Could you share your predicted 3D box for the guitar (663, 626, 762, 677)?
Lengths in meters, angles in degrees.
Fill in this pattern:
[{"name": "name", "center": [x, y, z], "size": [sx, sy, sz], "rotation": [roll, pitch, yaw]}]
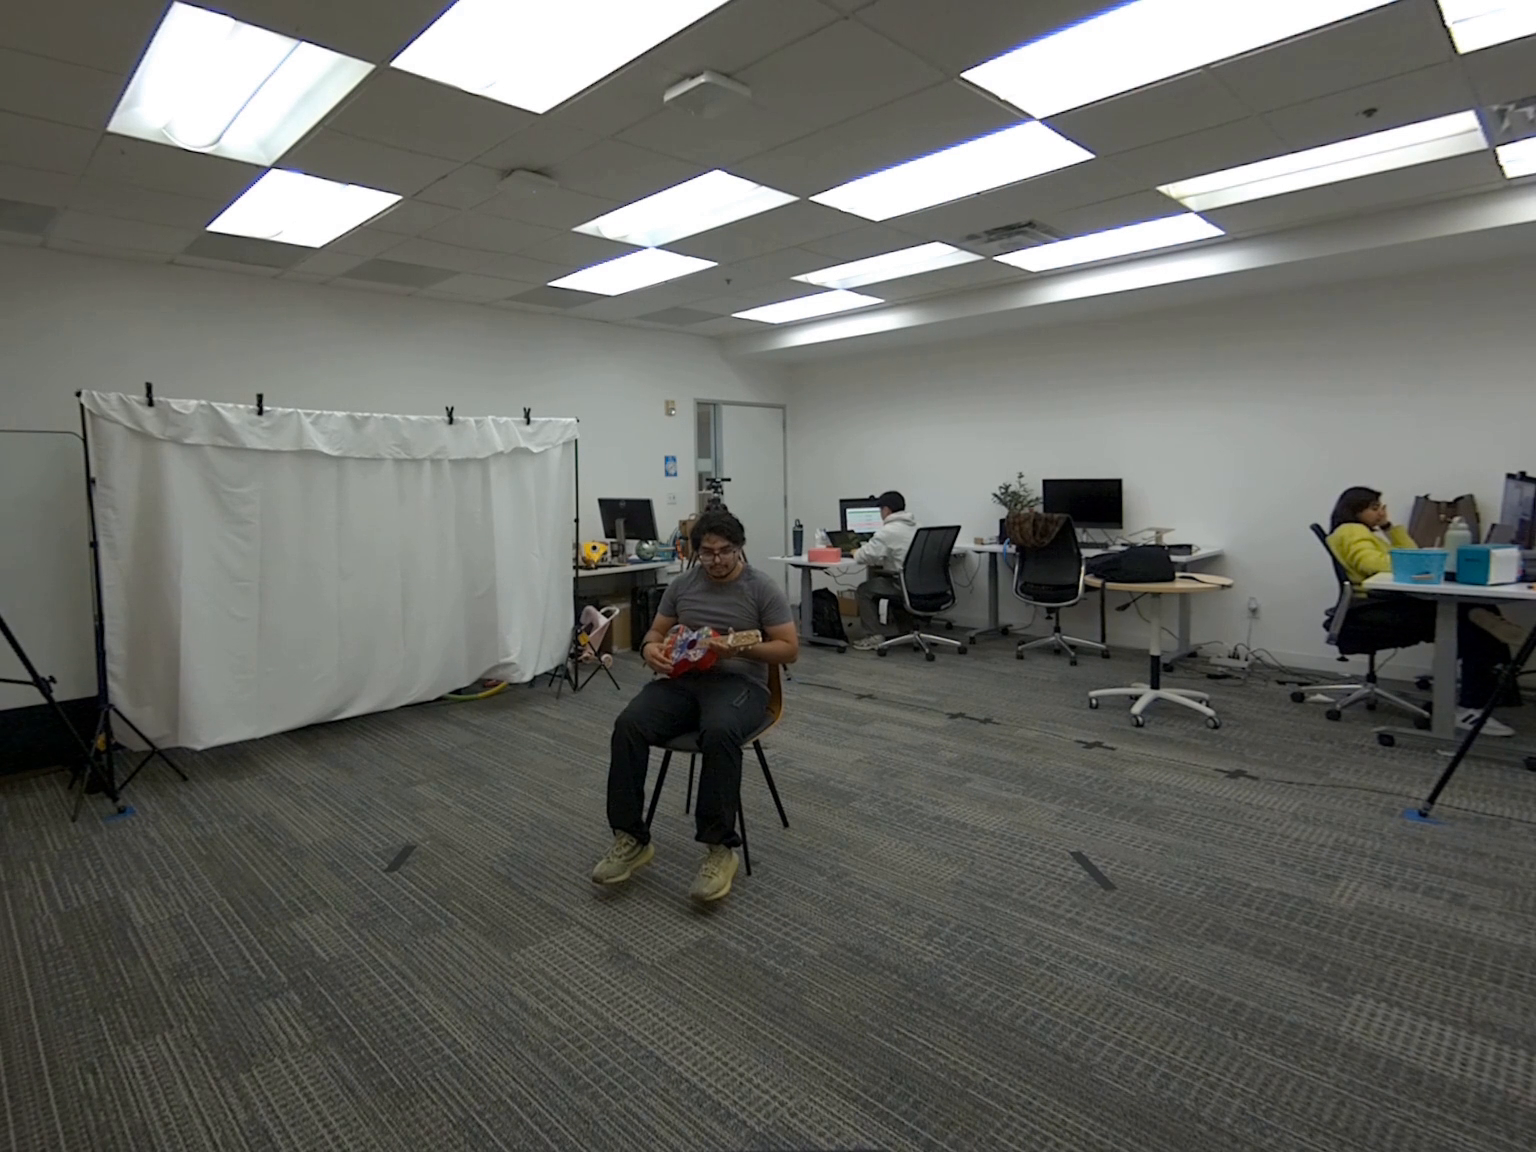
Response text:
[{"name": "guitar", "center": [-0.216, 0.279, 3.075], "size": [0.512, 0.195, 0.068], "rotation": [0, -33, 46]}]
